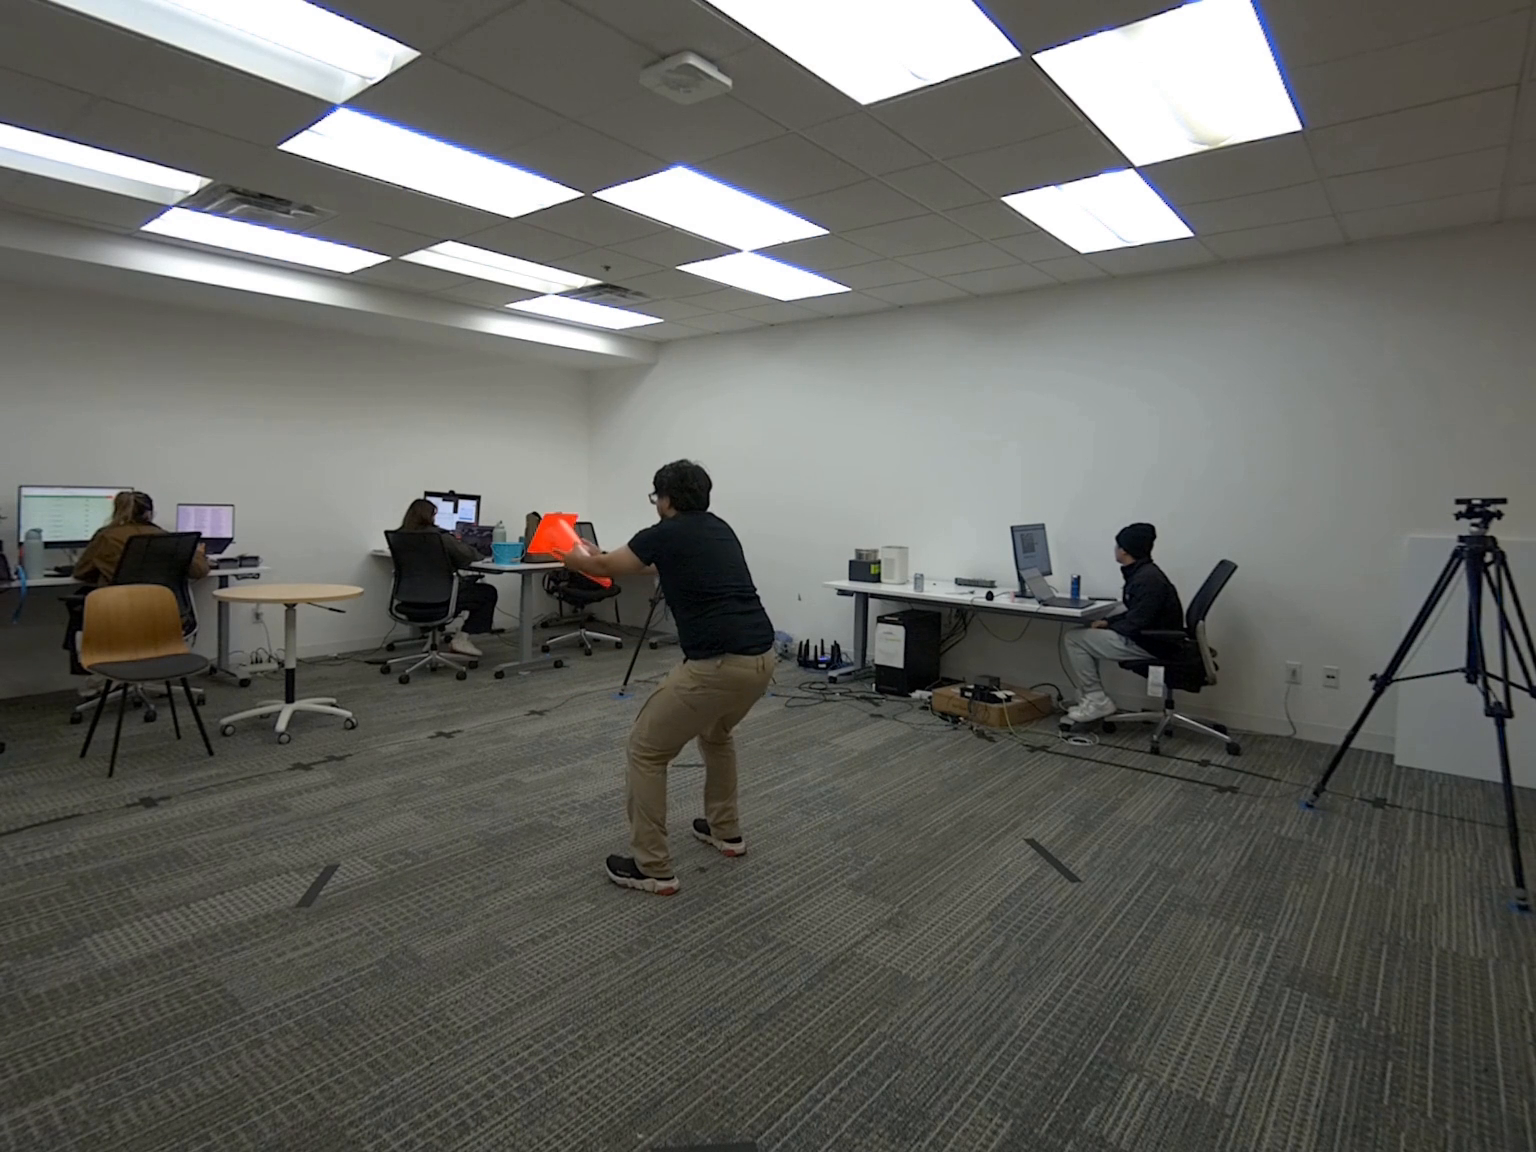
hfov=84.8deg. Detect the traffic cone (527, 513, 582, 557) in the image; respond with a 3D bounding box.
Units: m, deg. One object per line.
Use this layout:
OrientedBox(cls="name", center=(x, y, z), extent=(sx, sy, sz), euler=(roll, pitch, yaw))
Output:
OrientedBox(cls="traffic cone", center=(-0.794, -0.071, 3.510), extent=(0.398, 0.202, 0.199), euler=(38, 22, 28))
